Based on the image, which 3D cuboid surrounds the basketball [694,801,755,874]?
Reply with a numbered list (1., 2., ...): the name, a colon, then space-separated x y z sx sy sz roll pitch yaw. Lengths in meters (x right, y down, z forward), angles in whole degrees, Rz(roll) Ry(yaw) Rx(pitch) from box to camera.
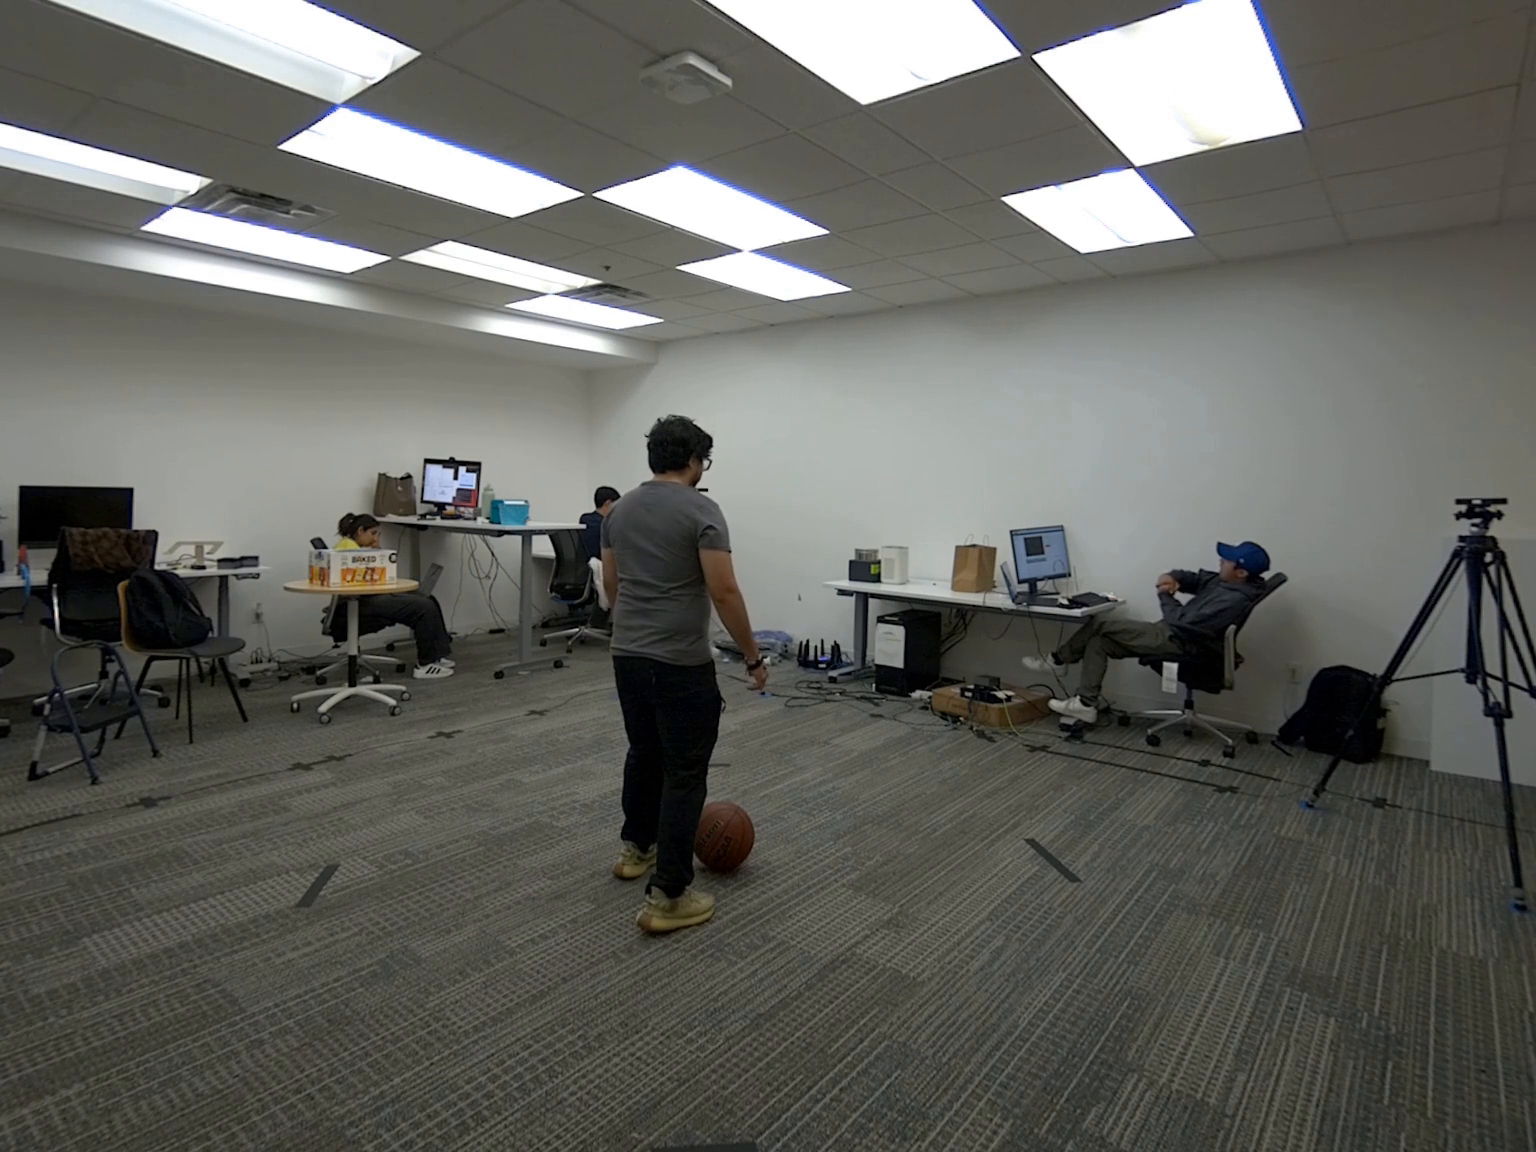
1. basketball: -0.178 0.948 3.125 0.235 0.235 0.237 1 4 -2
